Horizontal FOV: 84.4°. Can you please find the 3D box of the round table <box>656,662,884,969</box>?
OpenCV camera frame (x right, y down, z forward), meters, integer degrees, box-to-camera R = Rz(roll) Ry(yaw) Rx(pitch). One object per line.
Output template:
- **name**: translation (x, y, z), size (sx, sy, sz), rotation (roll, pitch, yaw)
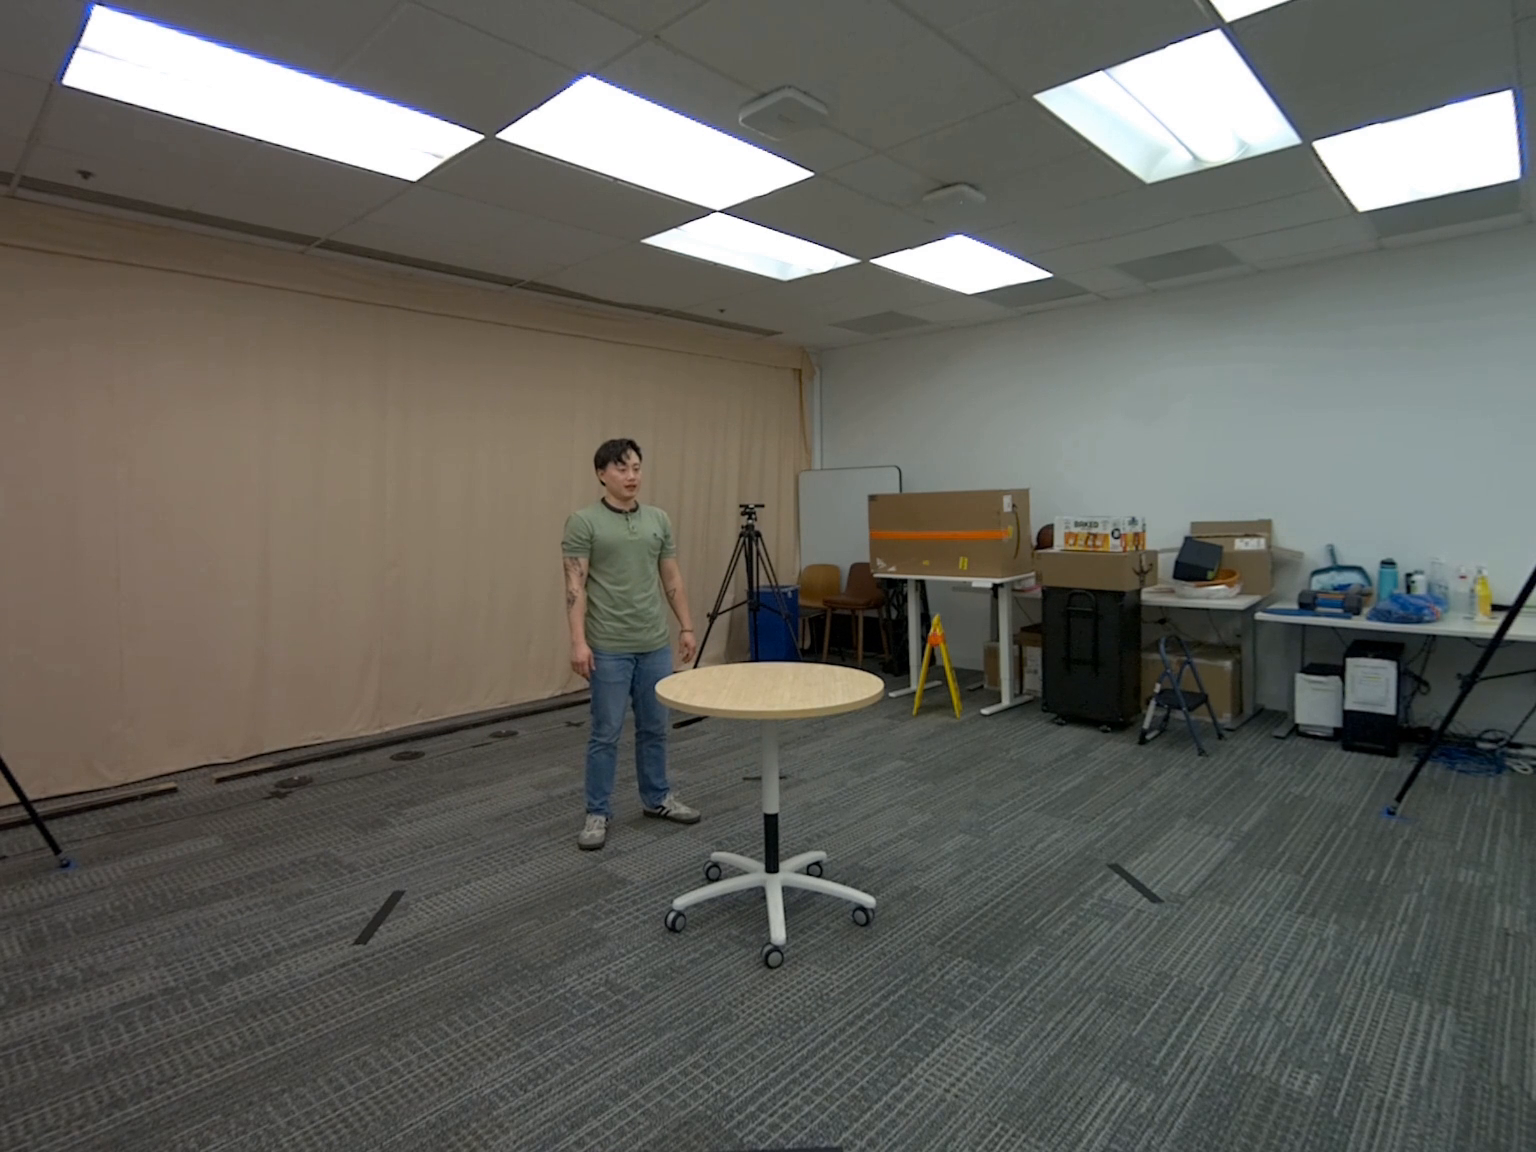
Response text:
- **round table**: translation (0.017, 0.759, 2.861), size (0.763, 0.792, 0.767), rotation (-1, 4, -2)
